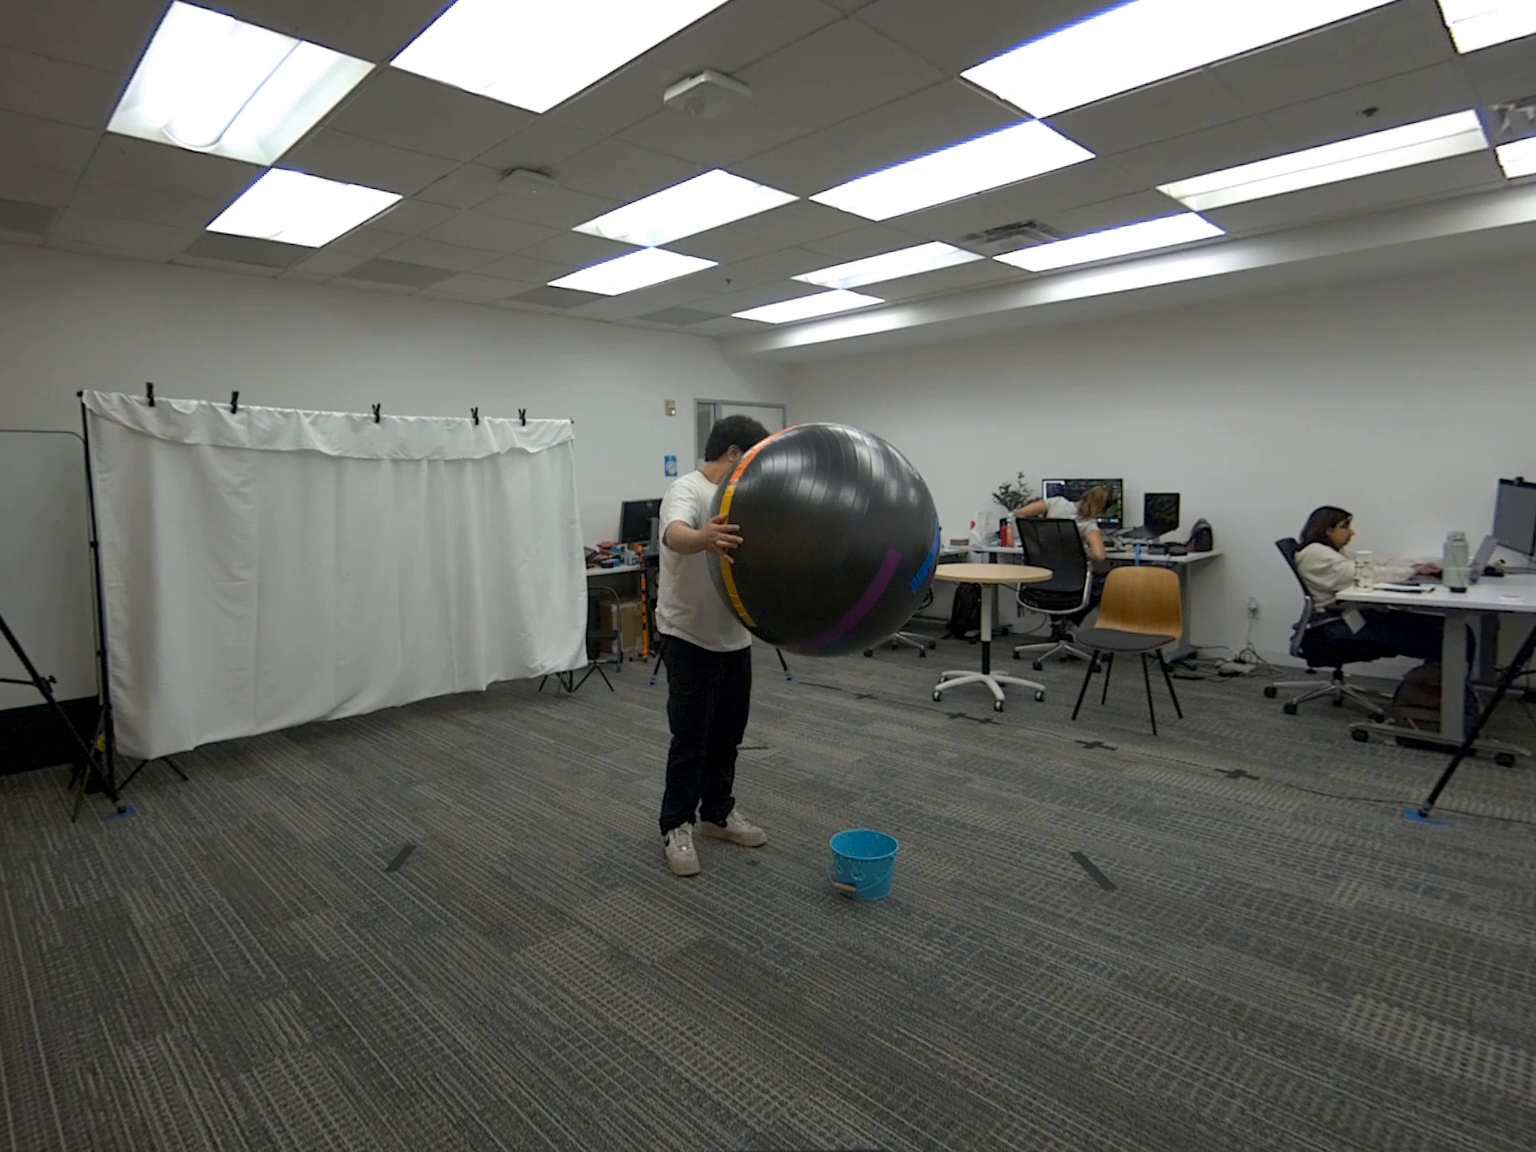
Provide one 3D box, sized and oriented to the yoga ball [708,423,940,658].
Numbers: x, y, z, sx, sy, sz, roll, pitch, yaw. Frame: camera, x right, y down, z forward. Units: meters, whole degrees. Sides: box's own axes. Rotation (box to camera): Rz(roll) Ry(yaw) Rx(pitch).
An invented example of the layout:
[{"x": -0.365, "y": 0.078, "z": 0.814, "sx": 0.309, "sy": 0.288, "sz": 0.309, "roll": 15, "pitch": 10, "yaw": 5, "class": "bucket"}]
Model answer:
[{"x": 0.175, "y": -0.110, "z": 2.787, "sx": 0.757, "sy": 0.755, "sz": 0.762, "roll": -1, "pitch": 5, "yaw": -2, "class": "yoga ball"}]
